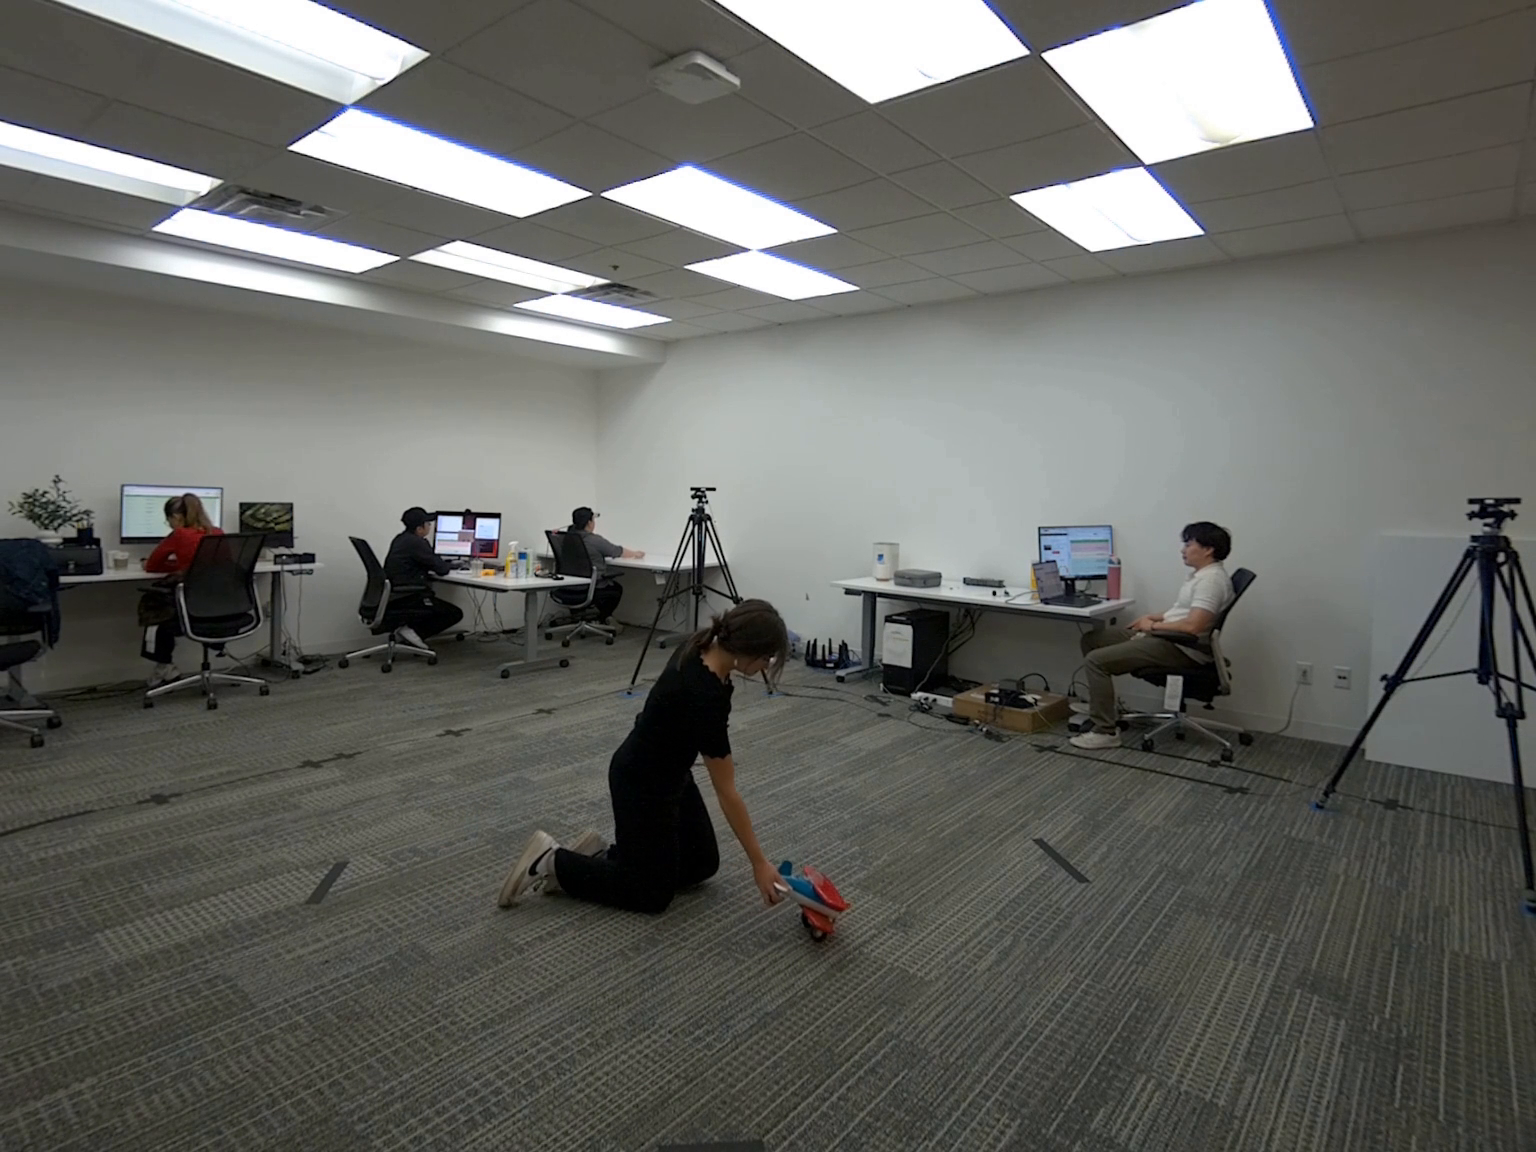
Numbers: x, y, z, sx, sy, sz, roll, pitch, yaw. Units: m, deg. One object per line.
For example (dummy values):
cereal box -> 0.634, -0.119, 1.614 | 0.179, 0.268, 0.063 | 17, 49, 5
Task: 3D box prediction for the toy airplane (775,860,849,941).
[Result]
toy airplane -> 0.116, 1.002, 2.639 | 0.262, 0.156, 0.248 | 33, -11, 47
